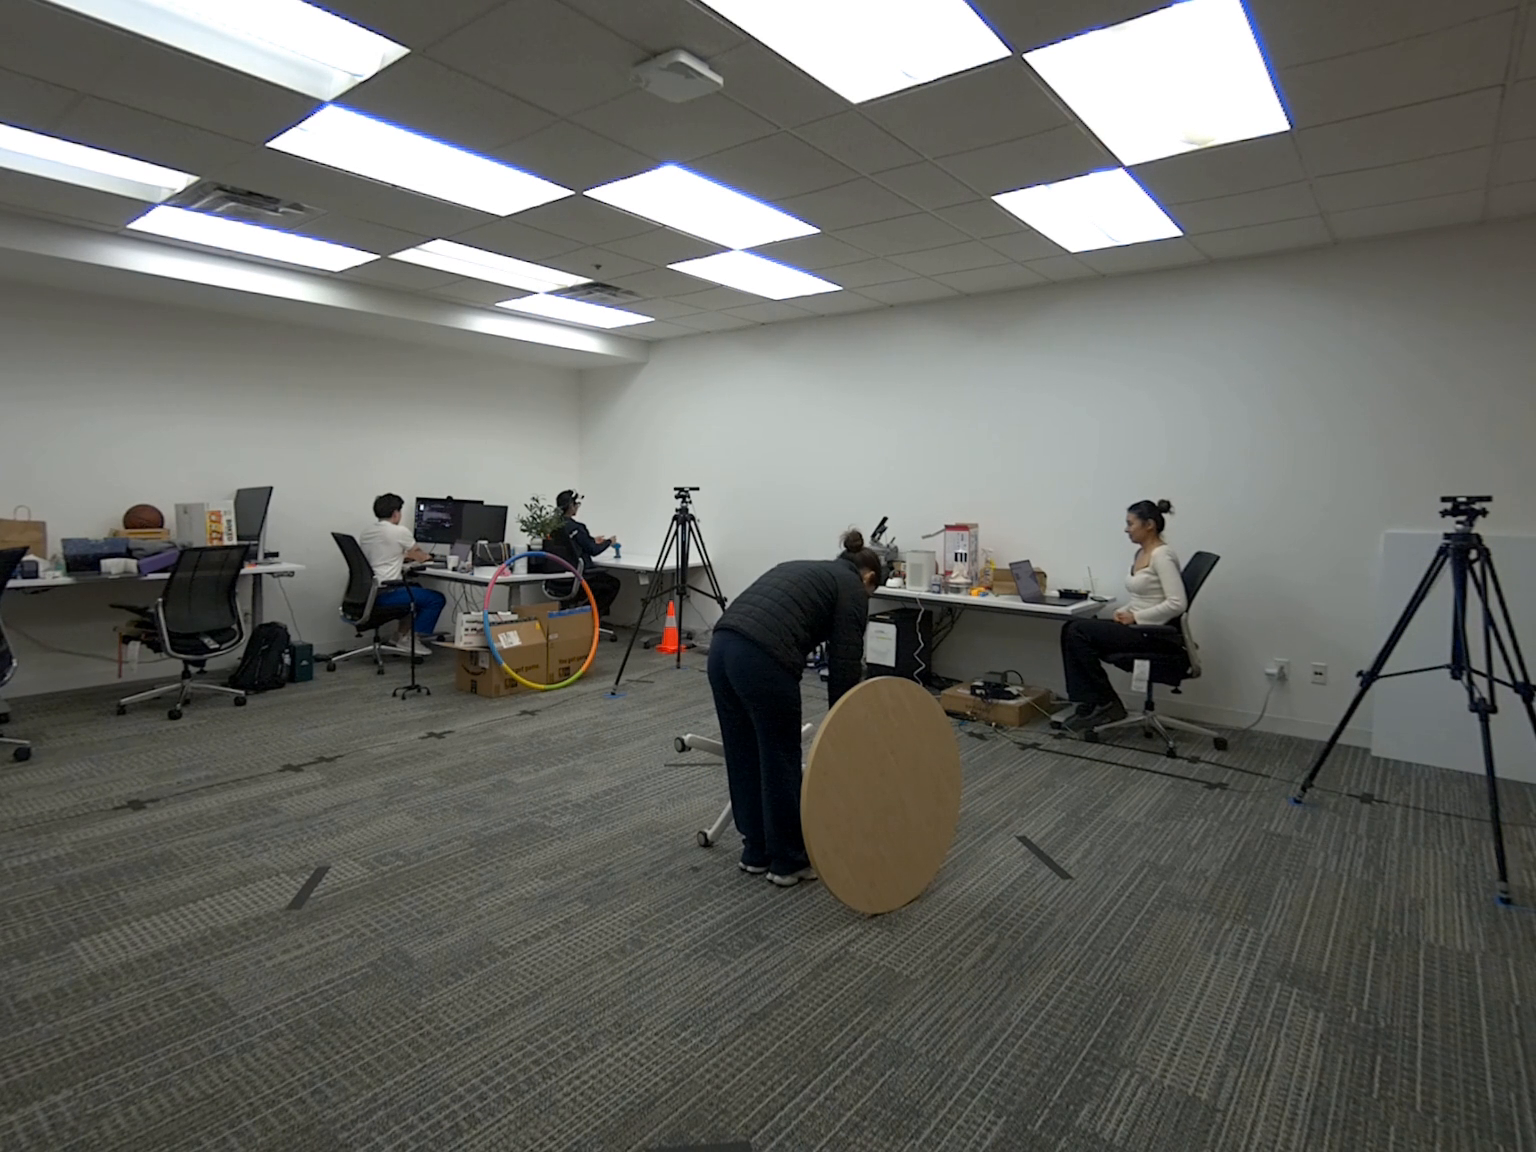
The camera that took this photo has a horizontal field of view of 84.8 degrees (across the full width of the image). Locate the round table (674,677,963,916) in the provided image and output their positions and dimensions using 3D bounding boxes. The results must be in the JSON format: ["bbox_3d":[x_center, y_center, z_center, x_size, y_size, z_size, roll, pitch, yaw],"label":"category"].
[{"bbox_3d":[0.157,0.733,3.164,0.762,0.787,0.809,-3,-2,-40],"label":"round table"}]
